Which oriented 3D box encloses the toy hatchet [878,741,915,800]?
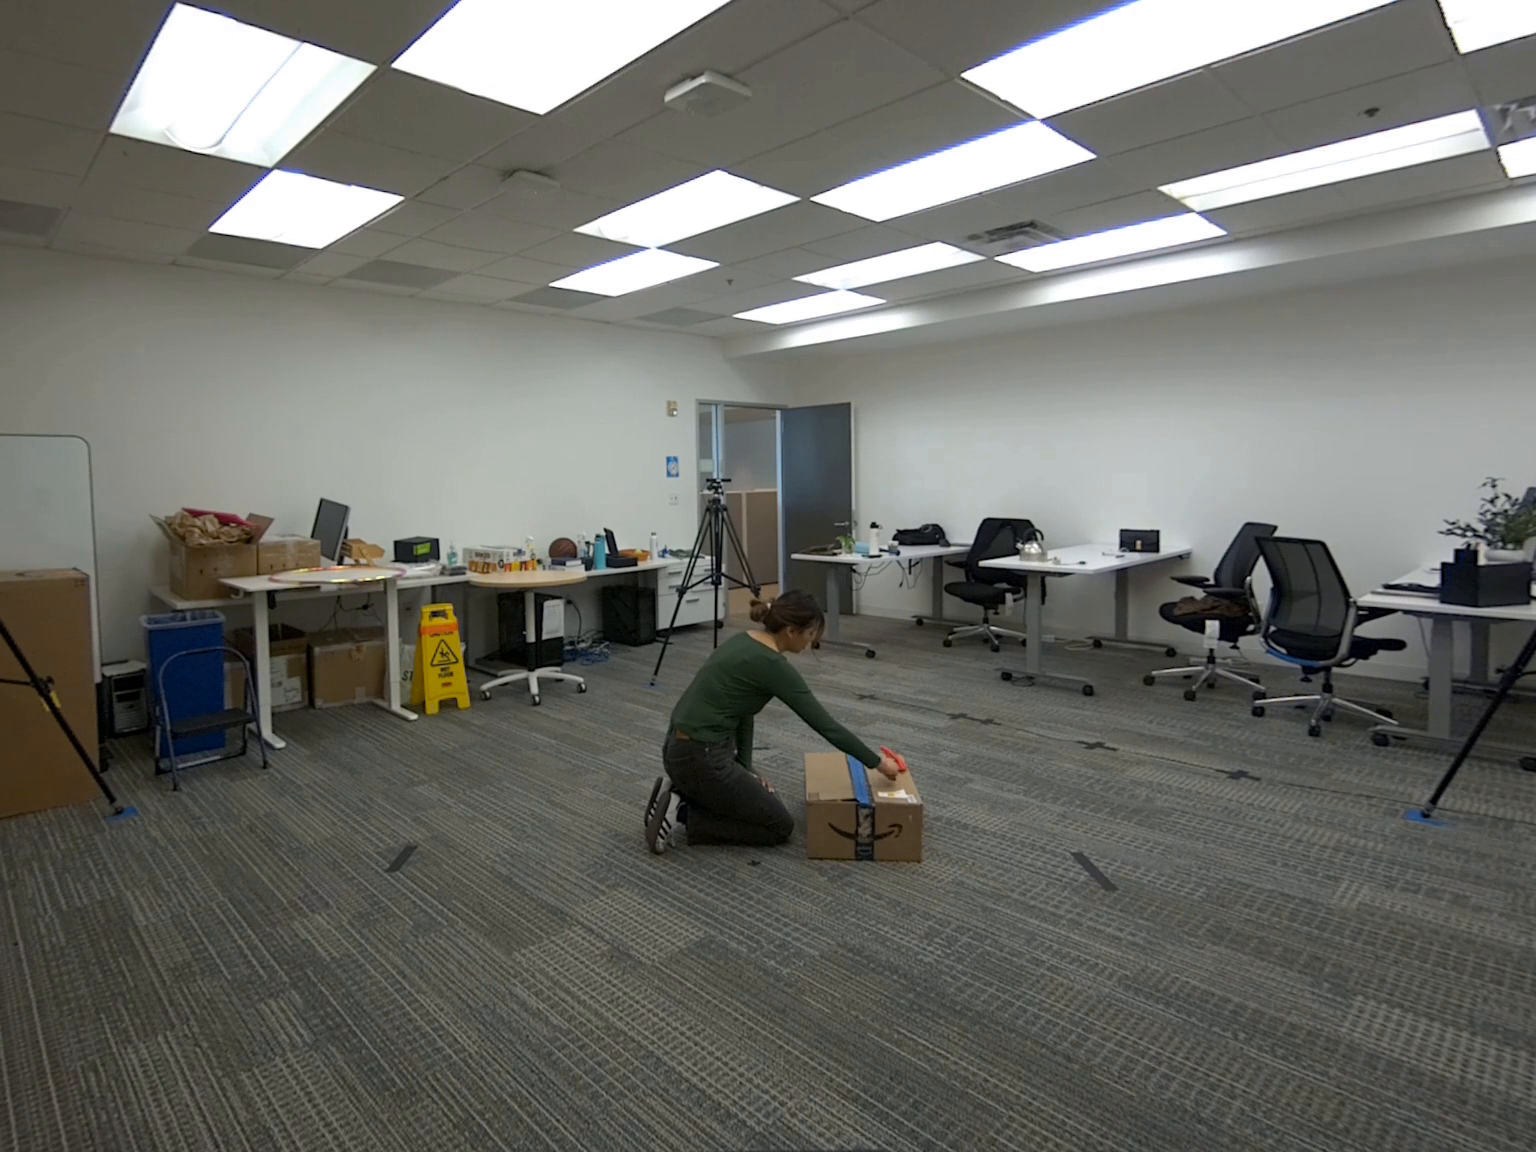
[{"bbox_3d":[0.499,0.757,3.356,0.130,0.029,0.271,37,15,-4],"label":"toy hatchet"}]
